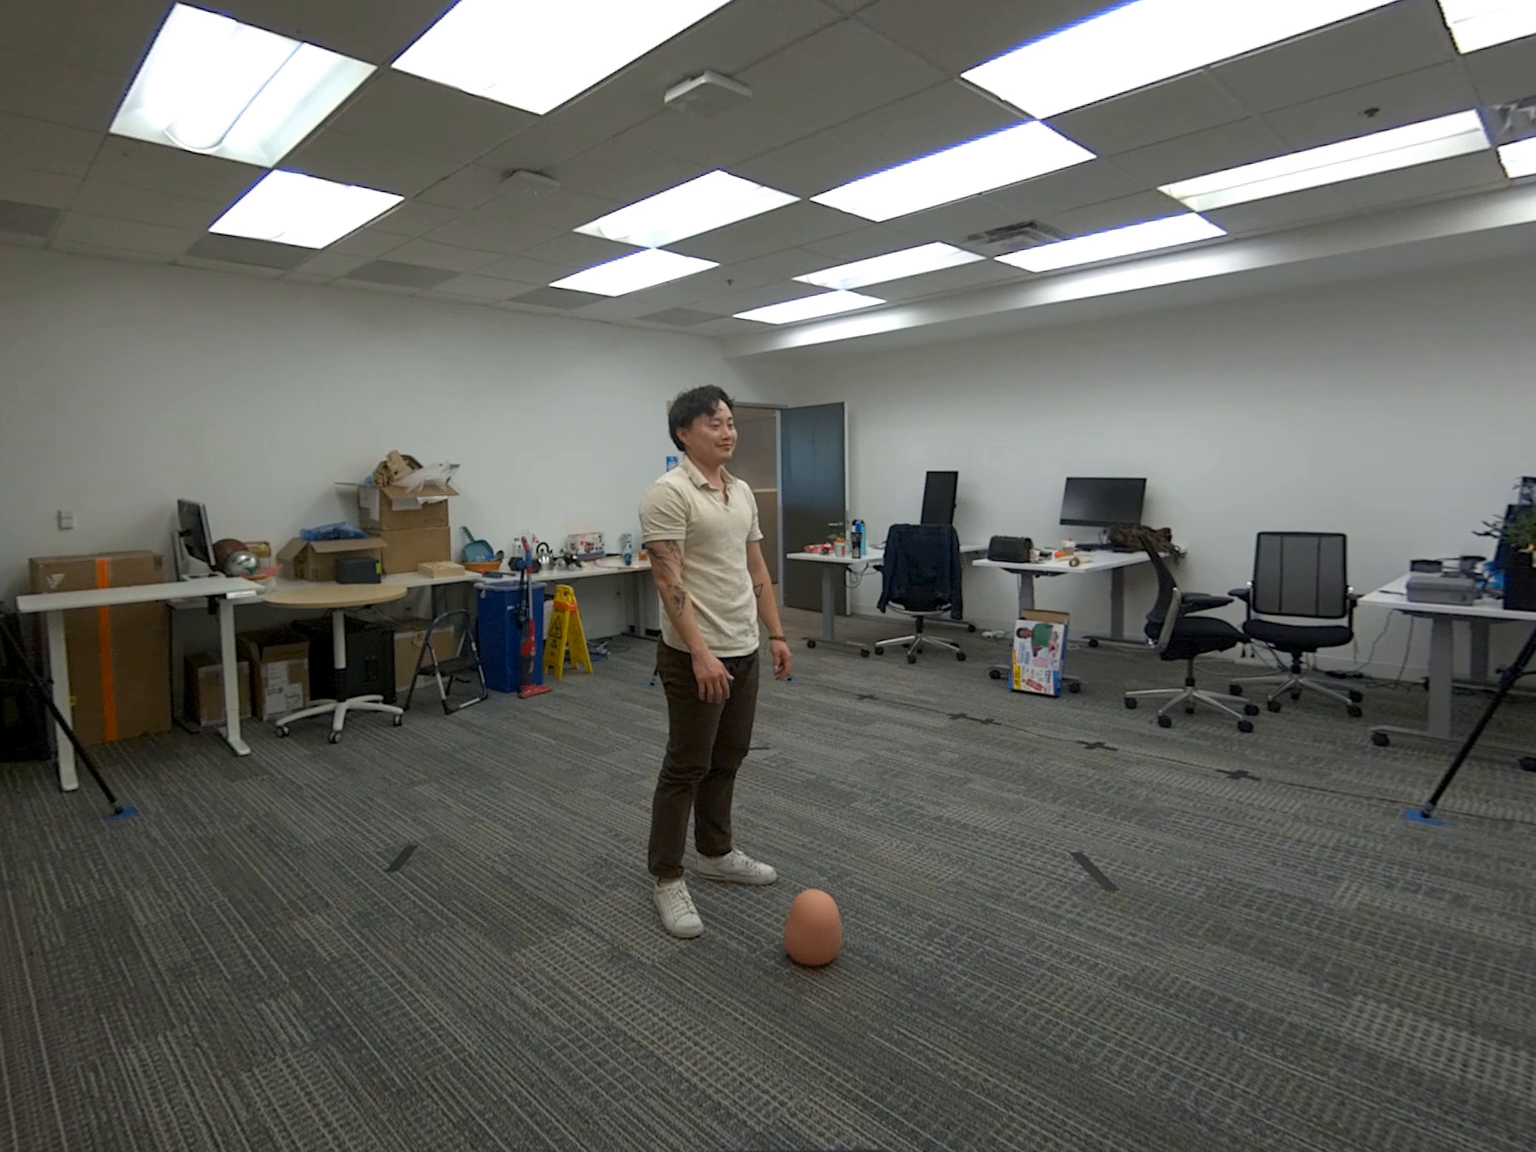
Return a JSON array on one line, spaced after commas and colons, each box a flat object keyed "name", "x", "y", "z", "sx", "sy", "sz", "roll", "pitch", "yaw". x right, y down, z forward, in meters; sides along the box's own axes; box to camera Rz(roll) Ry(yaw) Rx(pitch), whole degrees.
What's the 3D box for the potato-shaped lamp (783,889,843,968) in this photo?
[{"name": "potato-shaped lamp", "x": 0.140, "y": 1.015, "z": 2.481, "sx": 0.161, "sy": 0.197, "sz": 0.176, "roll": -4, "pitch": 7, "yaw": -25}]
